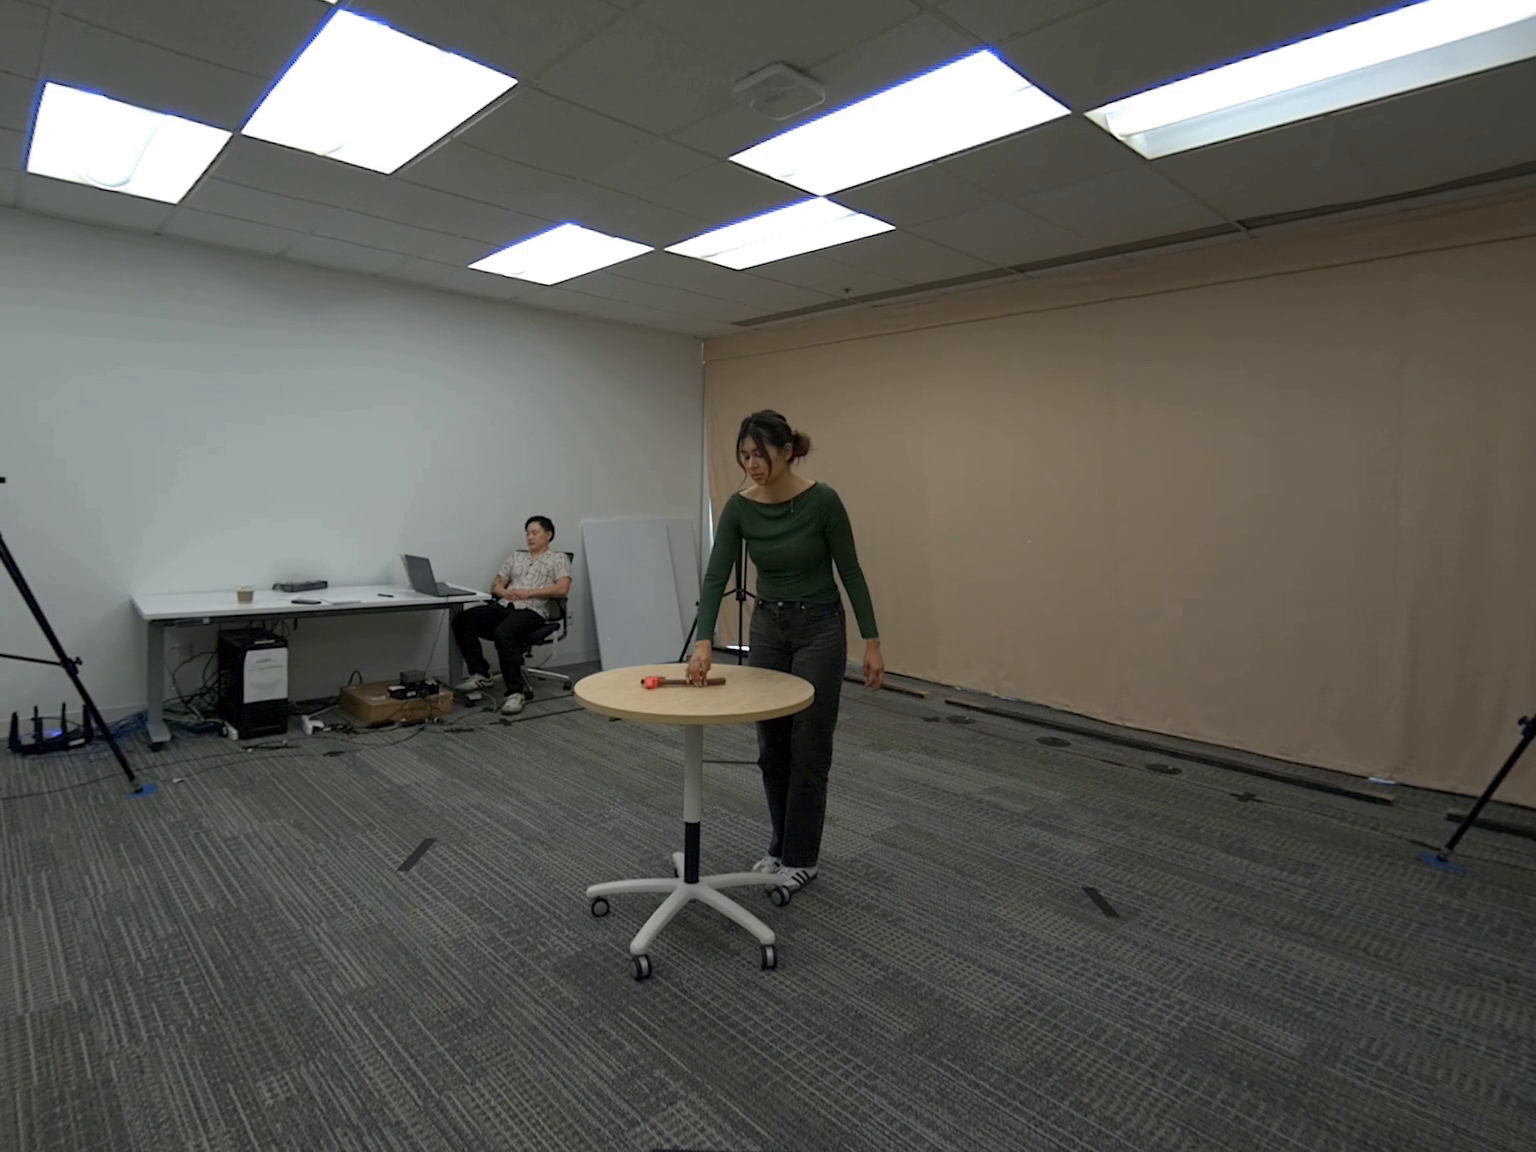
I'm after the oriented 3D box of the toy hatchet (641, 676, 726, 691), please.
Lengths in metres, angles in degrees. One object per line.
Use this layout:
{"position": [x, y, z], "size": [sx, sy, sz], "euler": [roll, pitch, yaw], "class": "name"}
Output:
{"position": [-0.286, 0.340, 2.731], "size": [0.265, 0.029, 0.133], "euler": [1, 1, -25], "class": "toy hatchet"}
